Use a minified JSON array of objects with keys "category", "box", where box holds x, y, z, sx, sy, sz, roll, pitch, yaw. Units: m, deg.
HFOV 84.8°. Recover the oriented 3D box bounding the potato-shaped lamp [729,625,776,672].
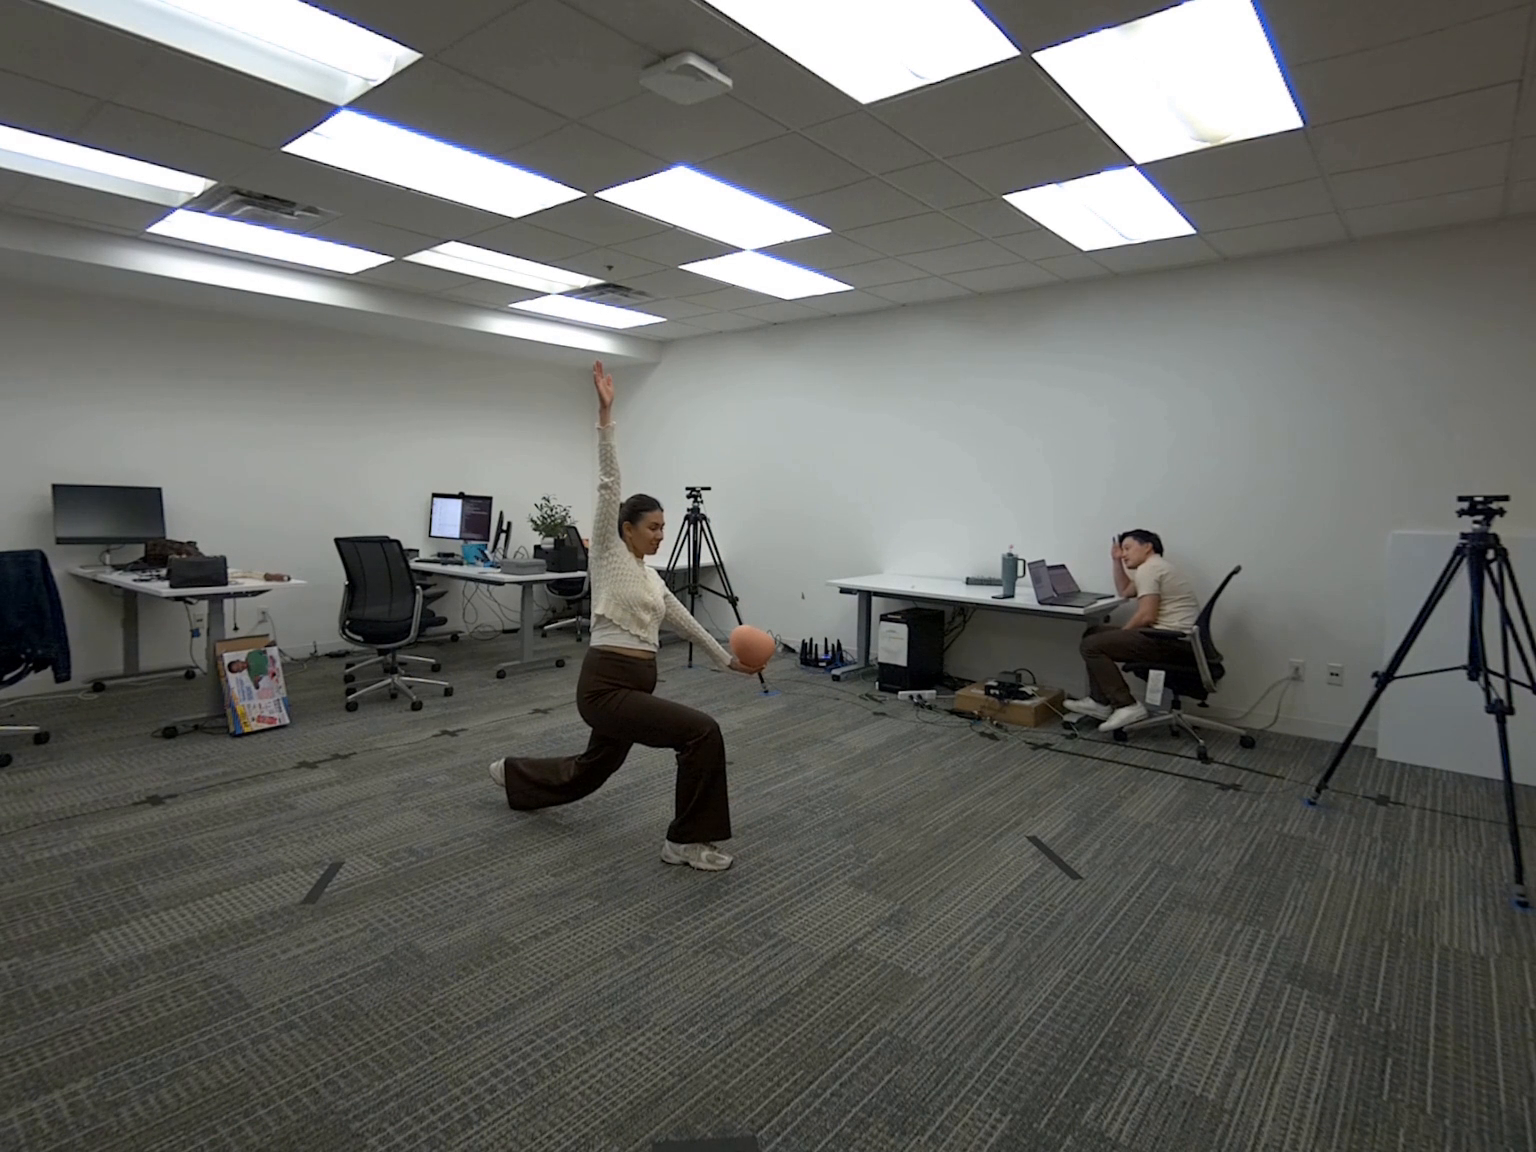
[{"category":"potato-shaped lamp","box":[-0.085,0.299,3.706,0.196,0.164,0.173,38,13,-7]}]
